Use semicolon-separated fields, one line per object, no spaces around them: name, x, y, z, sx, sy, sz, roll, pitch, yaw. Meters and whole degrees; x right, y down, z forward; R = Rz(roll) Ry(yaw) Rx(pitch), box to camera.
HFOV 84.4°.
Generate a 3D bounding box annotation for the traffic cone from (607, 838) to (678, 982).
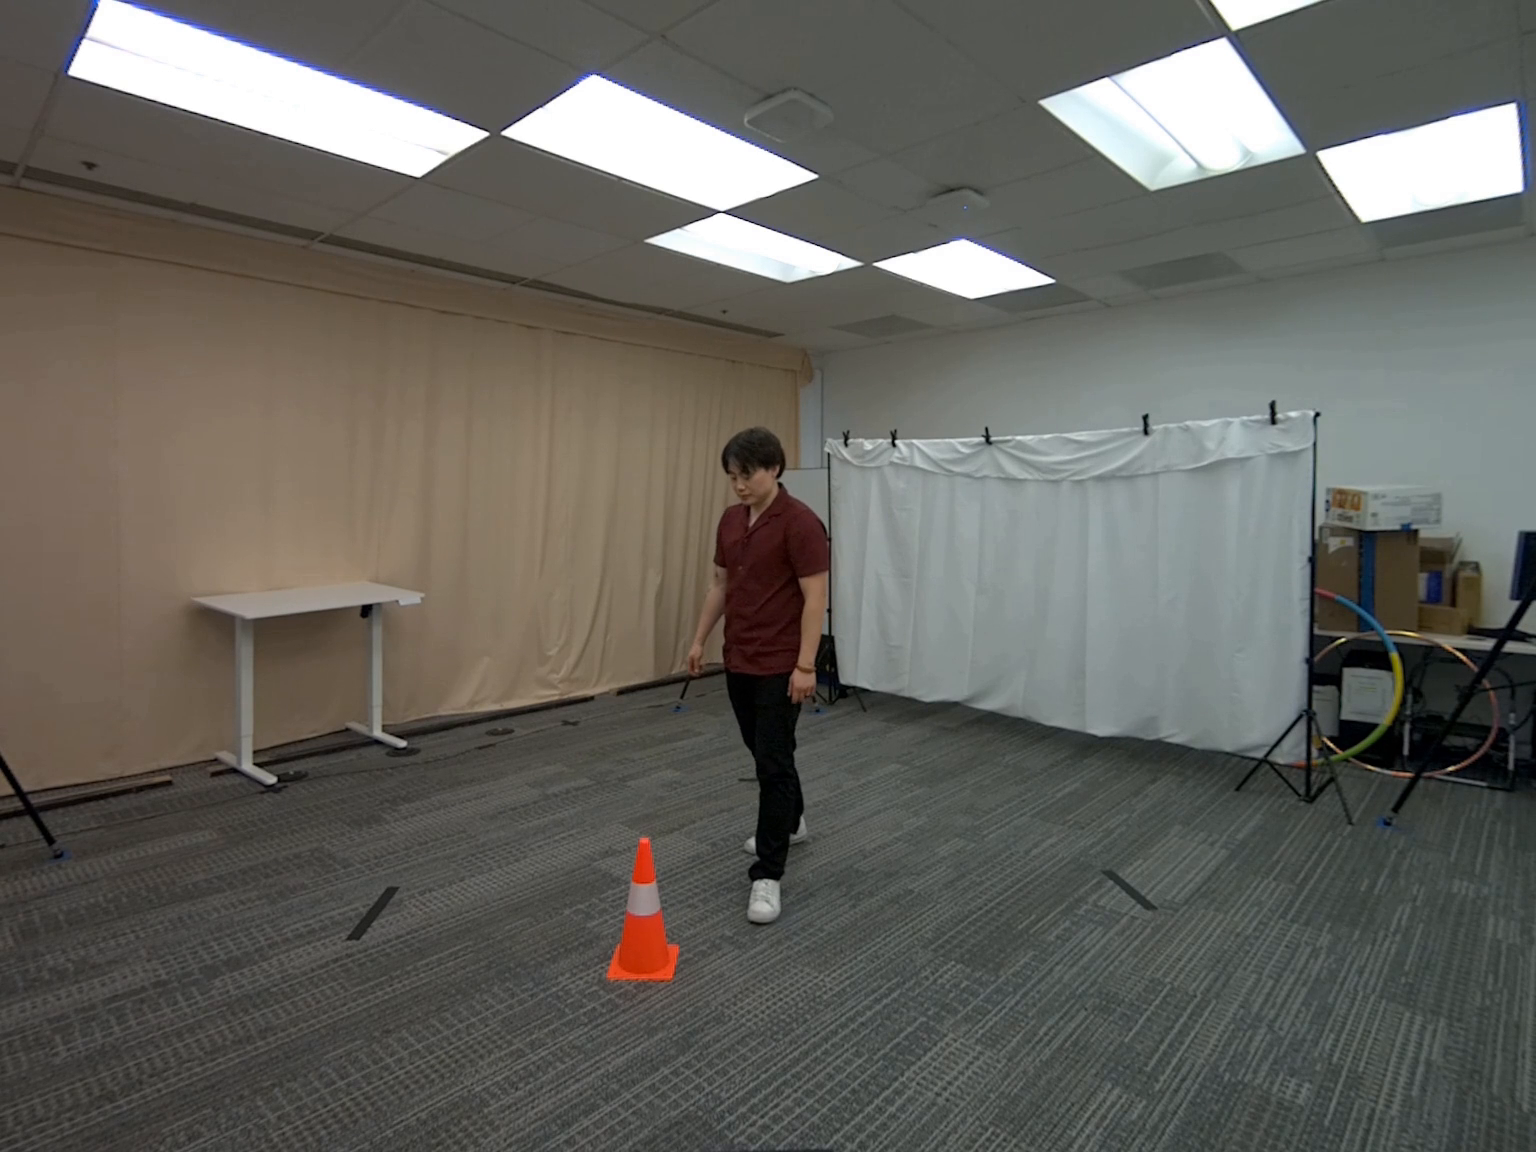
traffic cone;-0.379;0.998;2.557;0.204;0.383;0.204;-1;3;4
